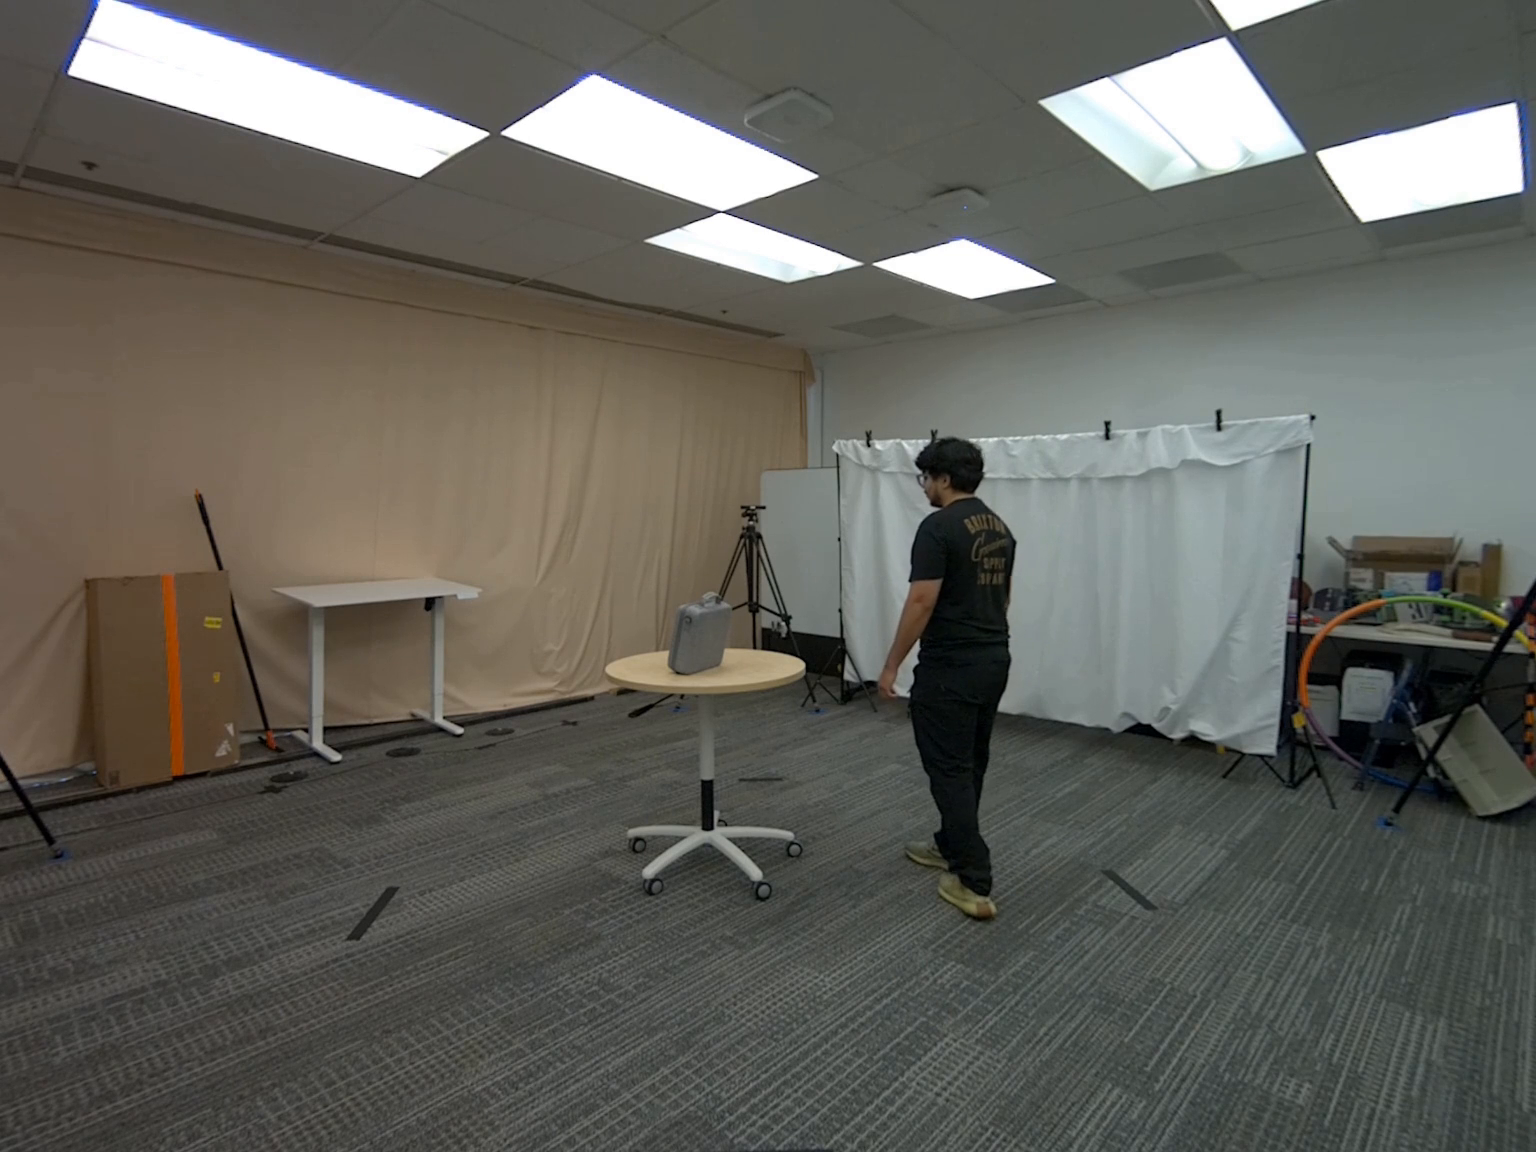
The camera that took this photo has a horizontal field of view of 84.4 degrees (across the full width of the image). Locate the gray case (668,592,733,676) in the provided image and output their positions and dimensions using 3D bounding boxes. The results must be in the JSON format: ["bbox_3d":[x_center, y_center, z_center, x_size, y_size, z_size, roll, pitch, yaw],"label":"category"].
[{"bbox_3d":[-0.247,0.223,3.142,0.107,0.259,0.250,16,12,27],"label":"gray case"}]
